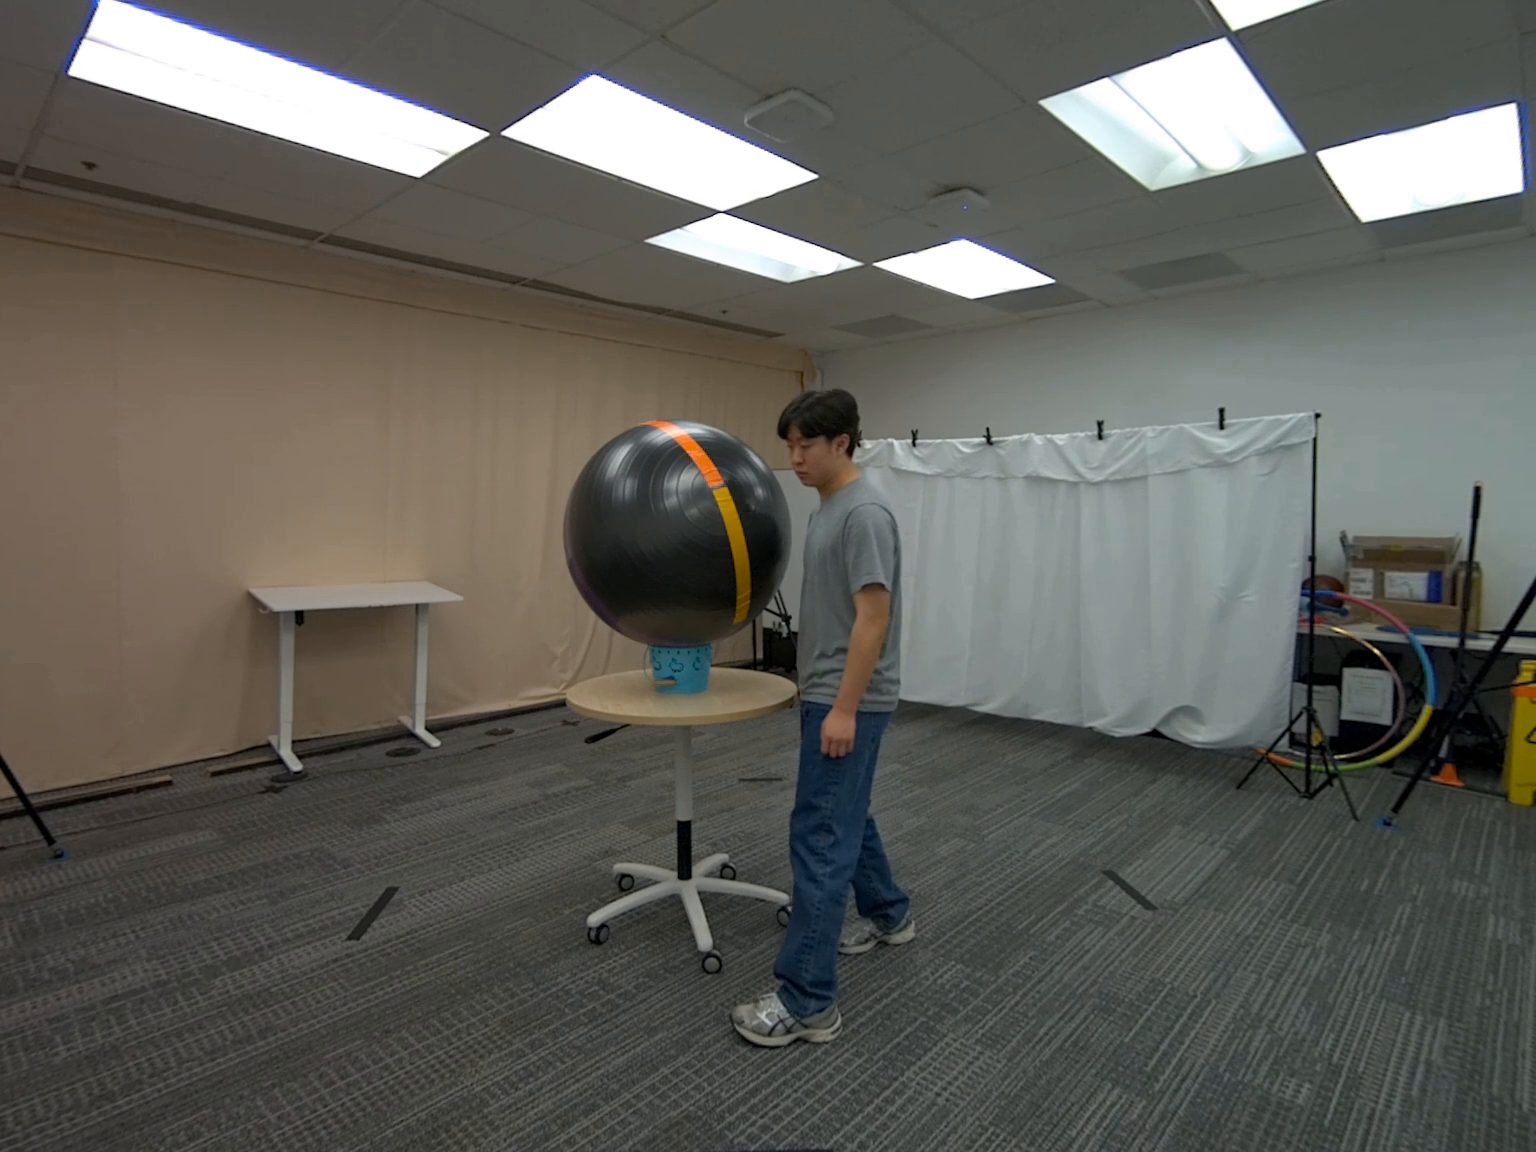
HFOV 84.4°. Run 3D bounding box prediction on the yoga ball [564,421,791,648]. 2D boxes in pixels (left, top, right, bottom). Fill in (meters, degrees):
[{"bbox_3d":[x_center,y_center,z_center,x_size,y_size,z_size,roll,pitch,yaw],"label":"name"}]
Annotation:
[{"bbox_3d":[-0.299,-0.135,2.808,0.757,0.756,0.760,0,4,-2],"label":"yoga ball"}]
